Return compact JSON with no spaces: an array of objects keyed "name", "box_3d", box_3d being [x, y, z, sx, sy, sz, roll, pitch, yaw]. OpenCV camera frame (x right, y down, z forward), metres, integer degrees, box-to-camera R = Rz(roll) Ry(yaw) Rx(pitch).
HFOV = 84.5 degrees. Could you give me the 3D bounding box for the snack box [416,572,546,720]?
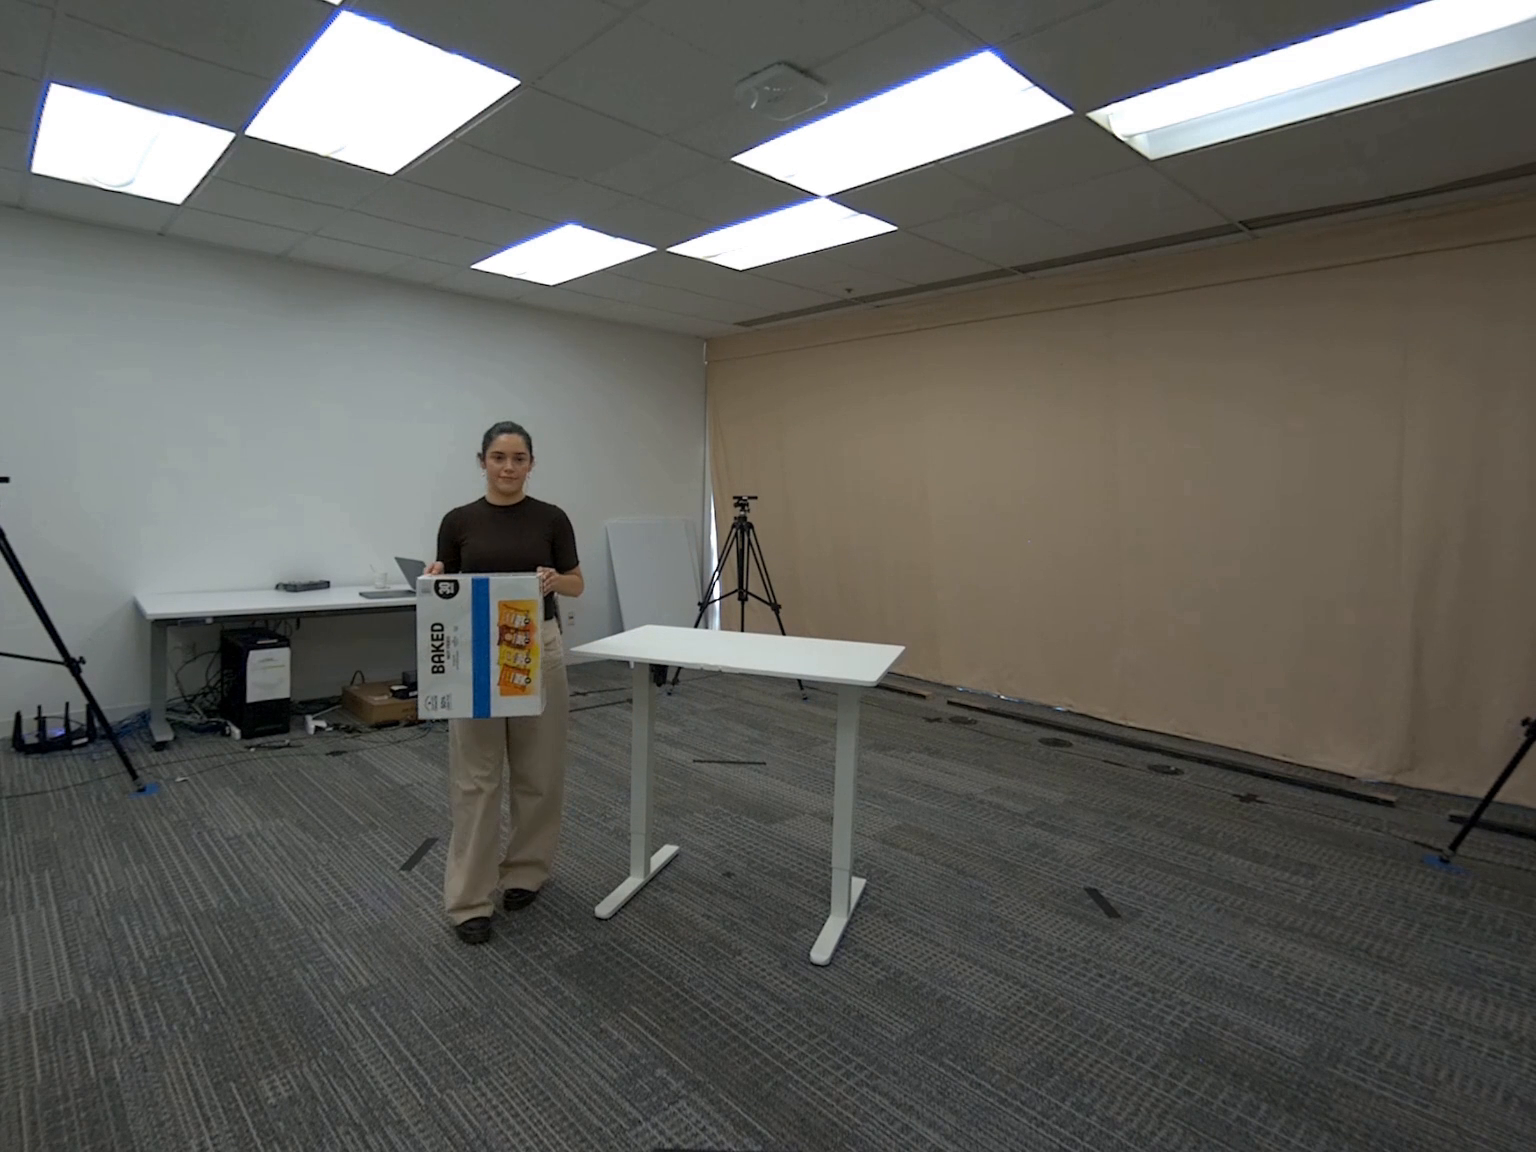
[{"name":"snack box","box_3d":[-0.853,0.201,2.482,0.338,0.404,0.207,-2,2,-9]}]
